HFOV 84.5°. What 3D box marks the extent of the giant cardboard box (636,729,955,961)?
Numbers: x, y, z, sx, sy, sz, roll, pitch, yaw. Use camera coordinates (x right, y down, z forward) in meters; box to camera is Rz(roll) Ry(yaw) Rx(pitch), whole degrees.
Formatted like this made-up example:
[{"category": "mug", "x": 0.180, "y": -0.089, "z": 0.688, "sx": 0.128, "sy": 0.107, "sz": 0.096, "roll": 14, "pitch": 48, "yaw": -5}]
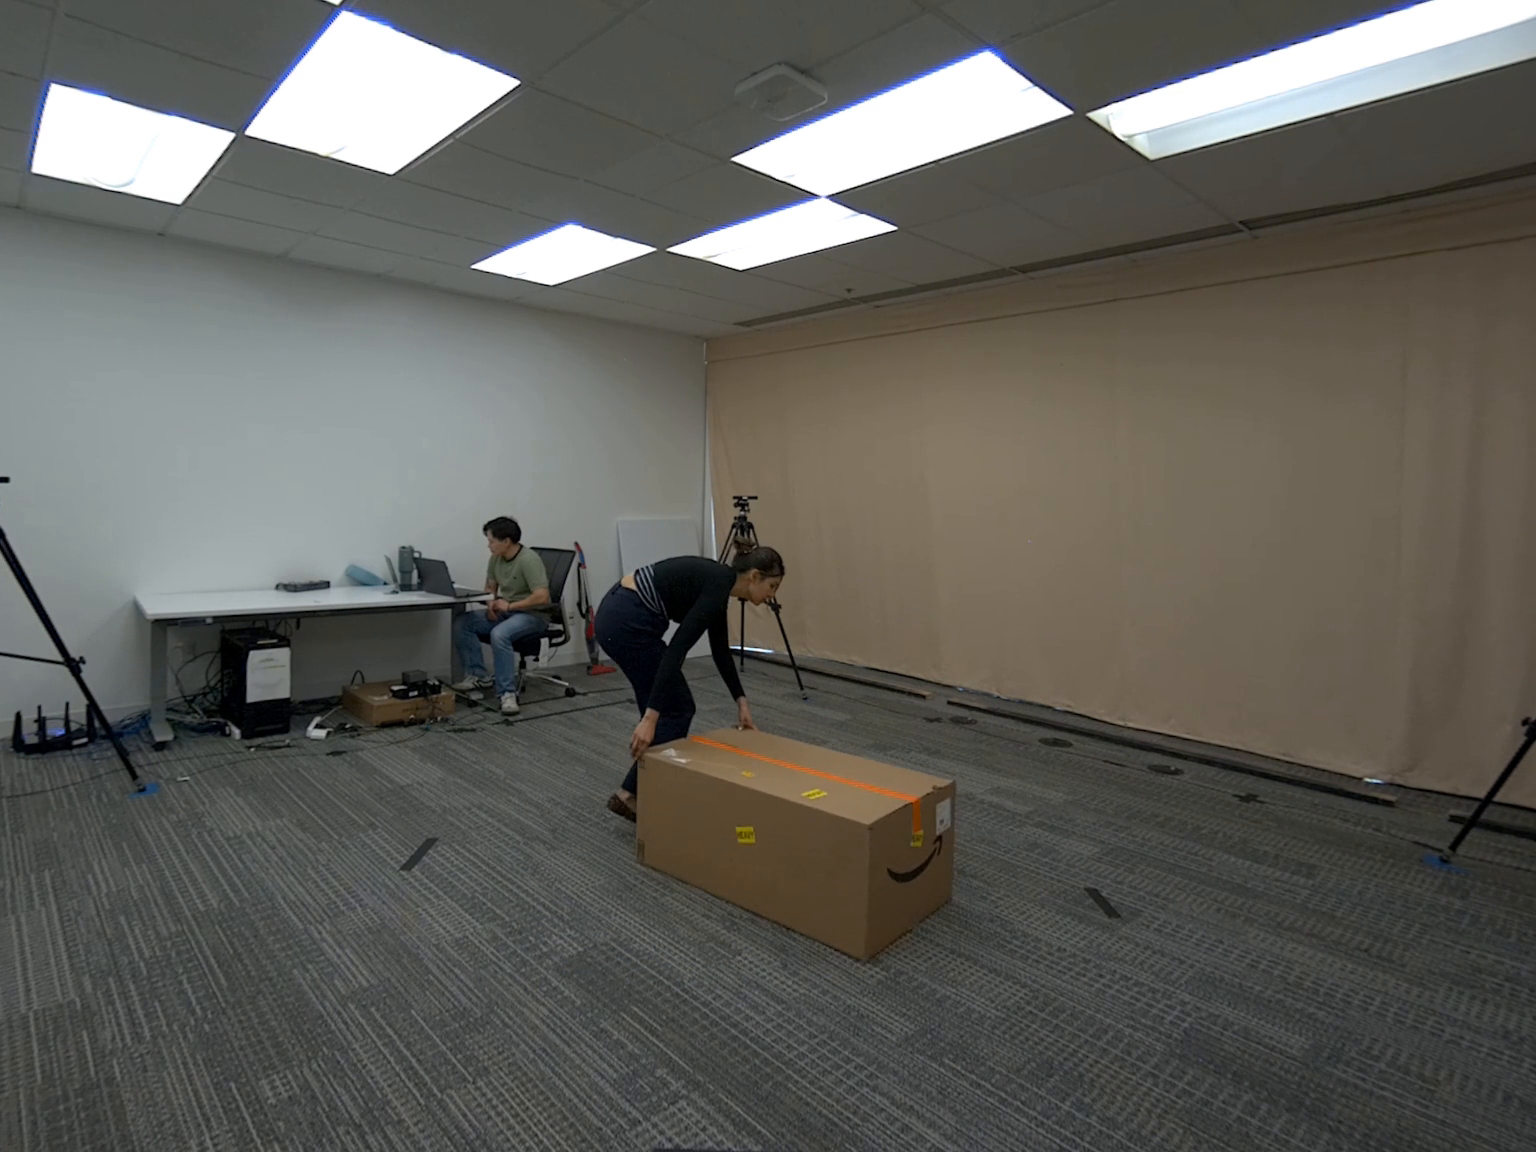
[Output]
[{"category": "giant cardboard box", "x": 0.075, "y": 0.898, "z": 3.066, "sx": 1.052, "sy": 0.425, "sz": 0.565, "roll": 5, "pitch": 6, "yaw": 40}]
